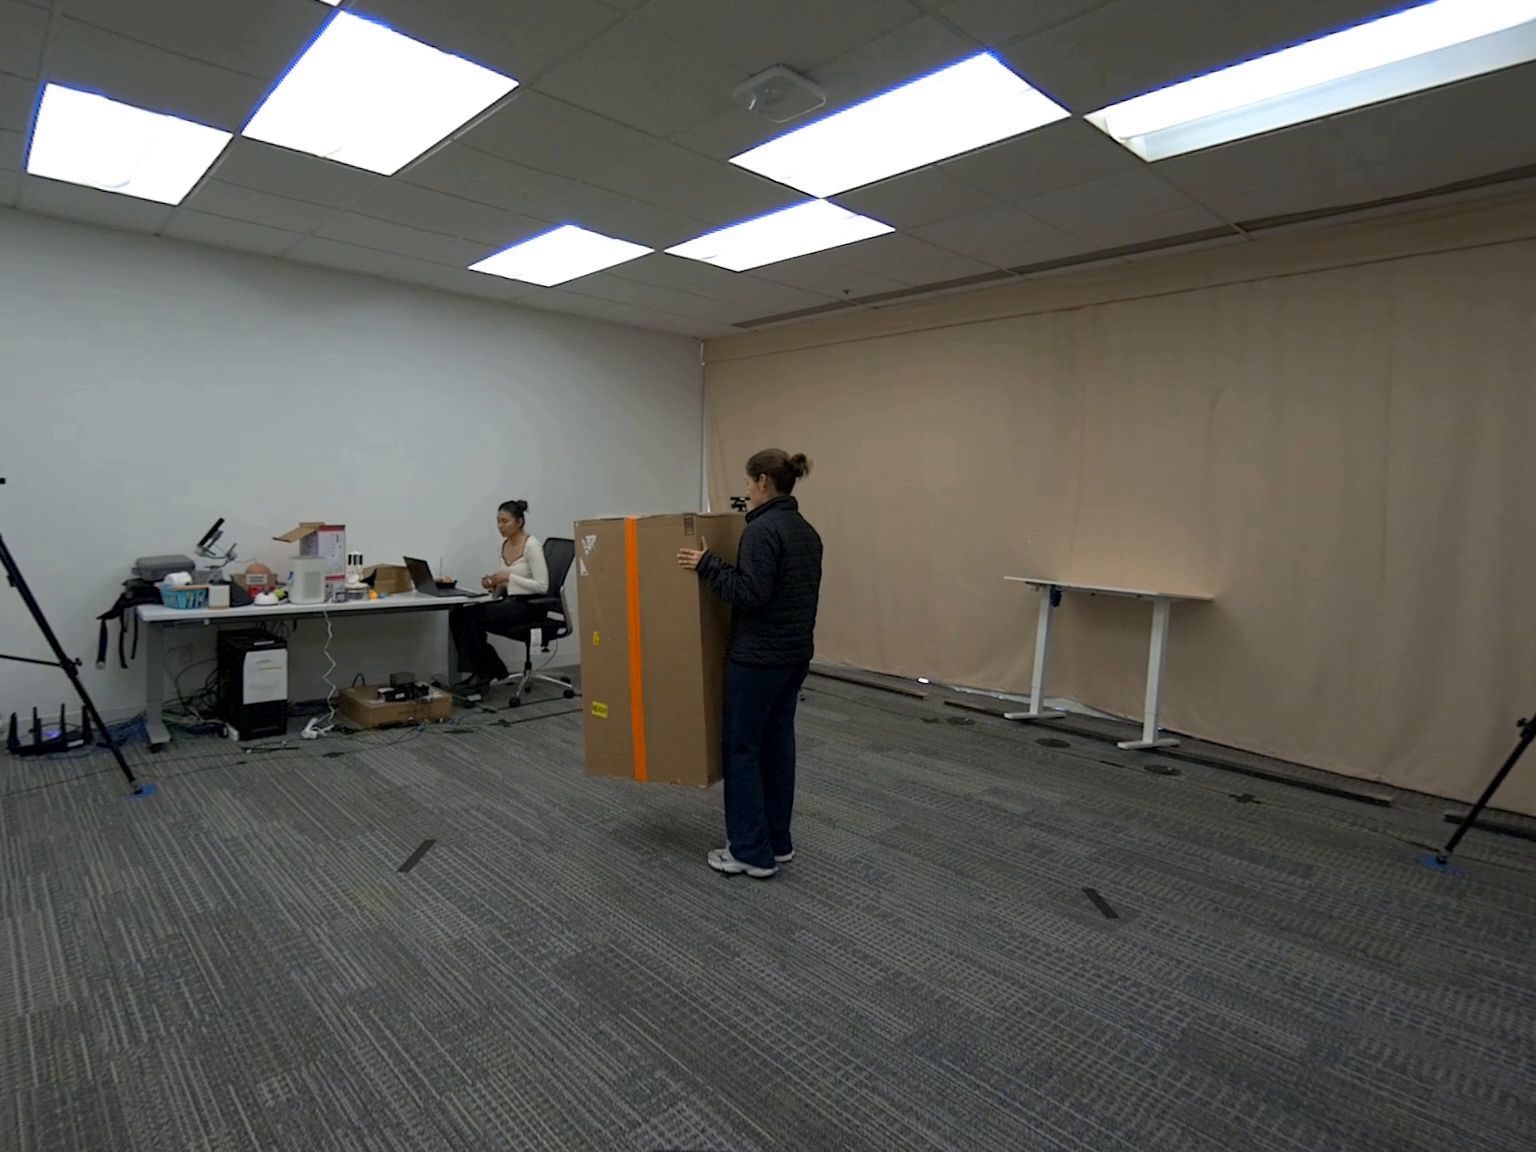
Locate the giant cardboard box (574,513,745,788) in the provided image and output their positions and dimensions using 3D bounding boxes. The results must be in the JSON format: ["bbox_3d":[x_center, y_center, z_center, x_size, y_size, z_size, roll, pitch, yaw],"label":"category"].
[{"bbox_3d":[-0.422,0.278,3.411,0.589,1.025,0.418,-2,1,29],"label":"giant cardboard box"}]
